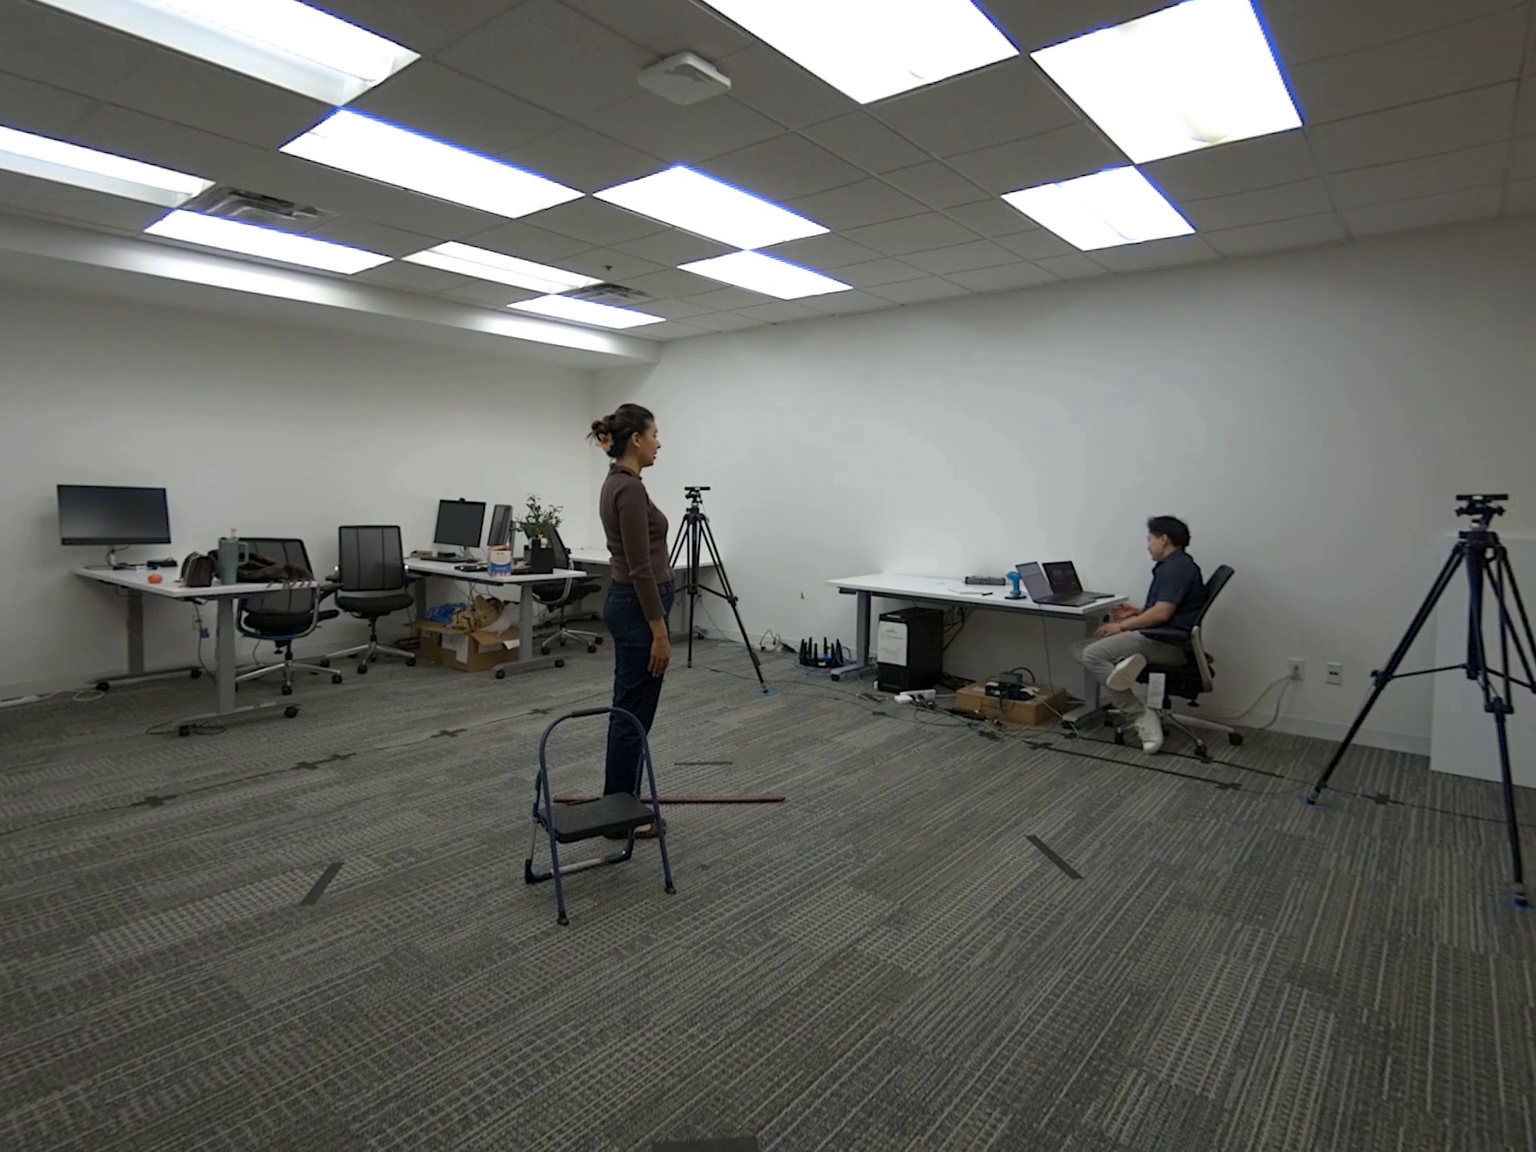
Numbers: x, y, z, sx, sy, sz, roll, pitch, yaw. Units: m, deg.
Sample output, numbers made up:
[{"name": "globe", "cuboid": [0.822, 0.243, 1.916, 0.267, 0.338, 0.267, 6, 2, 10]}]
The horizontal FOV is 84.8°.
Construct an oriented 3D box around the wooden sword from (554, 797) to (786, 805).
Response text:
[{"name": "wooden sword", "cuboid": [-0.441, 0.972, 3.744, 1.023, 0.023, 0.053, -1, 40, -2]}]
